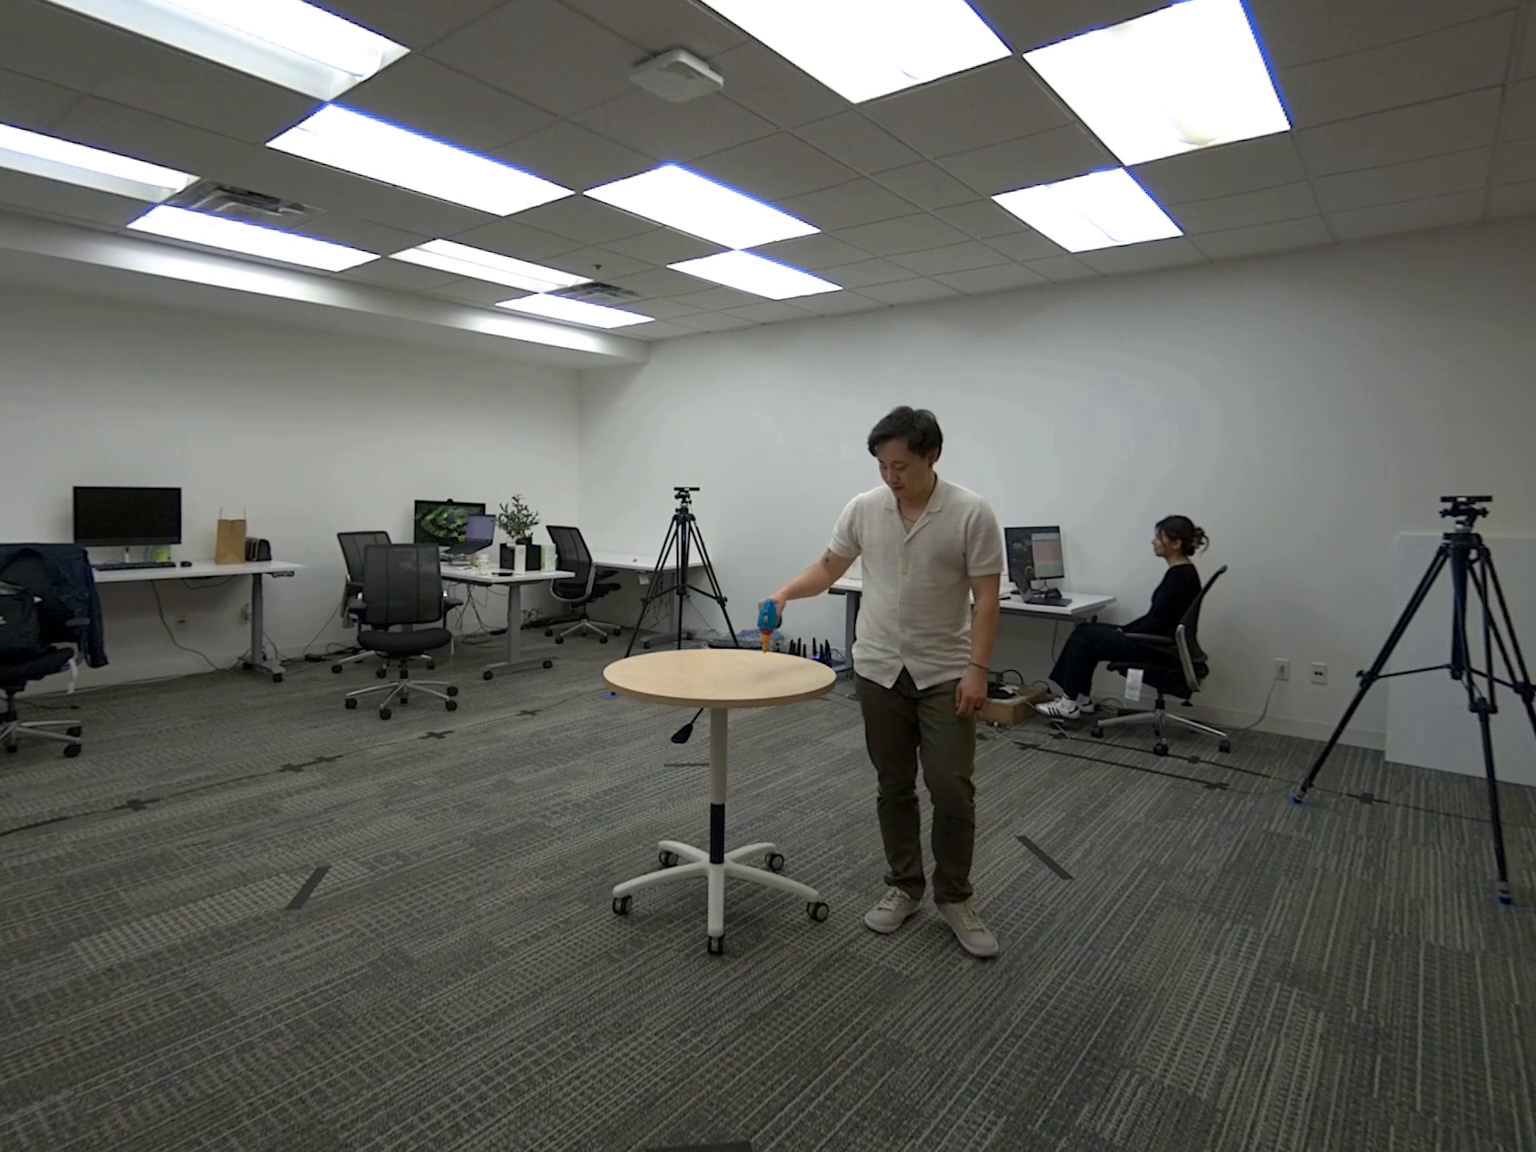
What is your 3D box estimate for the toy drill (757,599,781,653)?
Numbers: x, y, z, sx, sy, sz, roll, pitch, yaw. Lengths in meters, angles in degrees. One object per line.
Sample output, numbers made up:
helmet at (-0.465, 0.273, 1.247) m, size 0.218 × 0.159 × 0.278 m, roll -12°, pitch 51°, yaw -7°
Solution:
toy drill at (0.006, 0.181, 2.691) m, size 0.062 × 0.171 × 0.143 m, roll -2°, pitch -10°, yaw 7°
